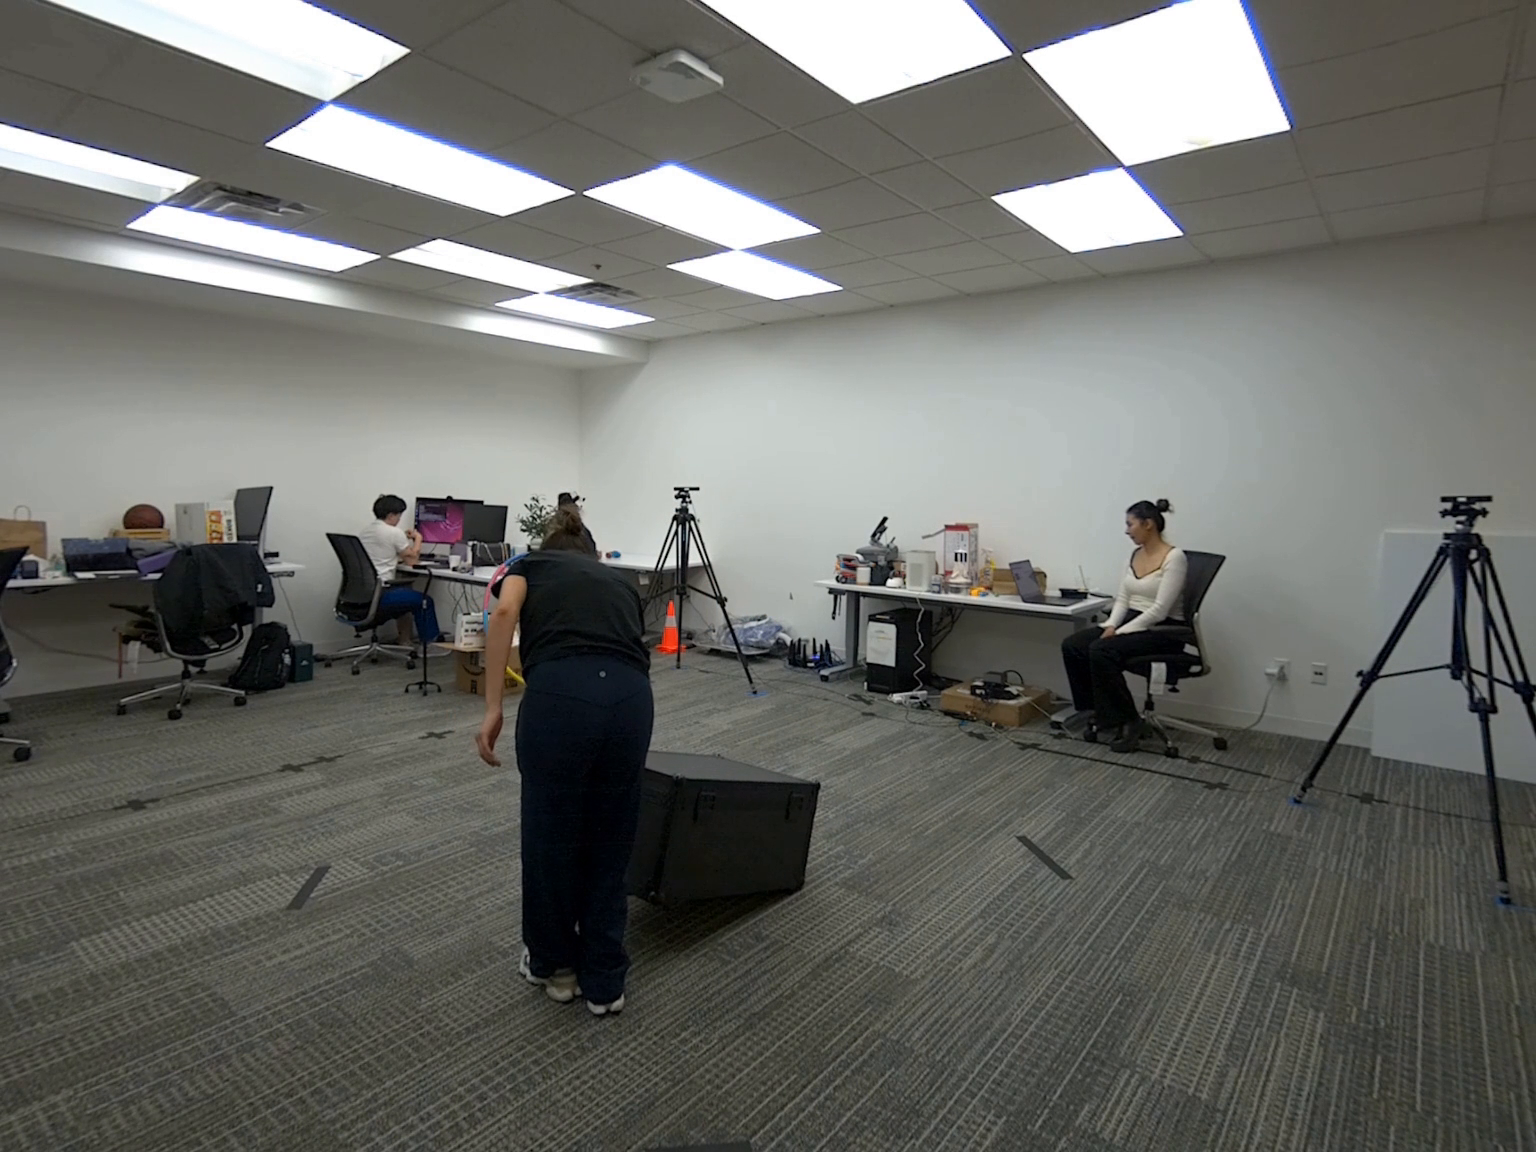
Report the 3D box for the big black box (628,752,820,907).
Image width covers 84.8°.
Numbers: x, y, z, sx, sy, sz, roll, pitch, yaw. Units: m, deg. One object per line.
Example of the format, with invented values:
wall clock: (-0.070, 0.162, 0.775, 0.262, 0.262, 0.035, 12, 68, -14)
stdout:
big black box: (-0.225, 0.803, 2.905, 0.538, 0.399, 0.828, 4, -10, 38)
